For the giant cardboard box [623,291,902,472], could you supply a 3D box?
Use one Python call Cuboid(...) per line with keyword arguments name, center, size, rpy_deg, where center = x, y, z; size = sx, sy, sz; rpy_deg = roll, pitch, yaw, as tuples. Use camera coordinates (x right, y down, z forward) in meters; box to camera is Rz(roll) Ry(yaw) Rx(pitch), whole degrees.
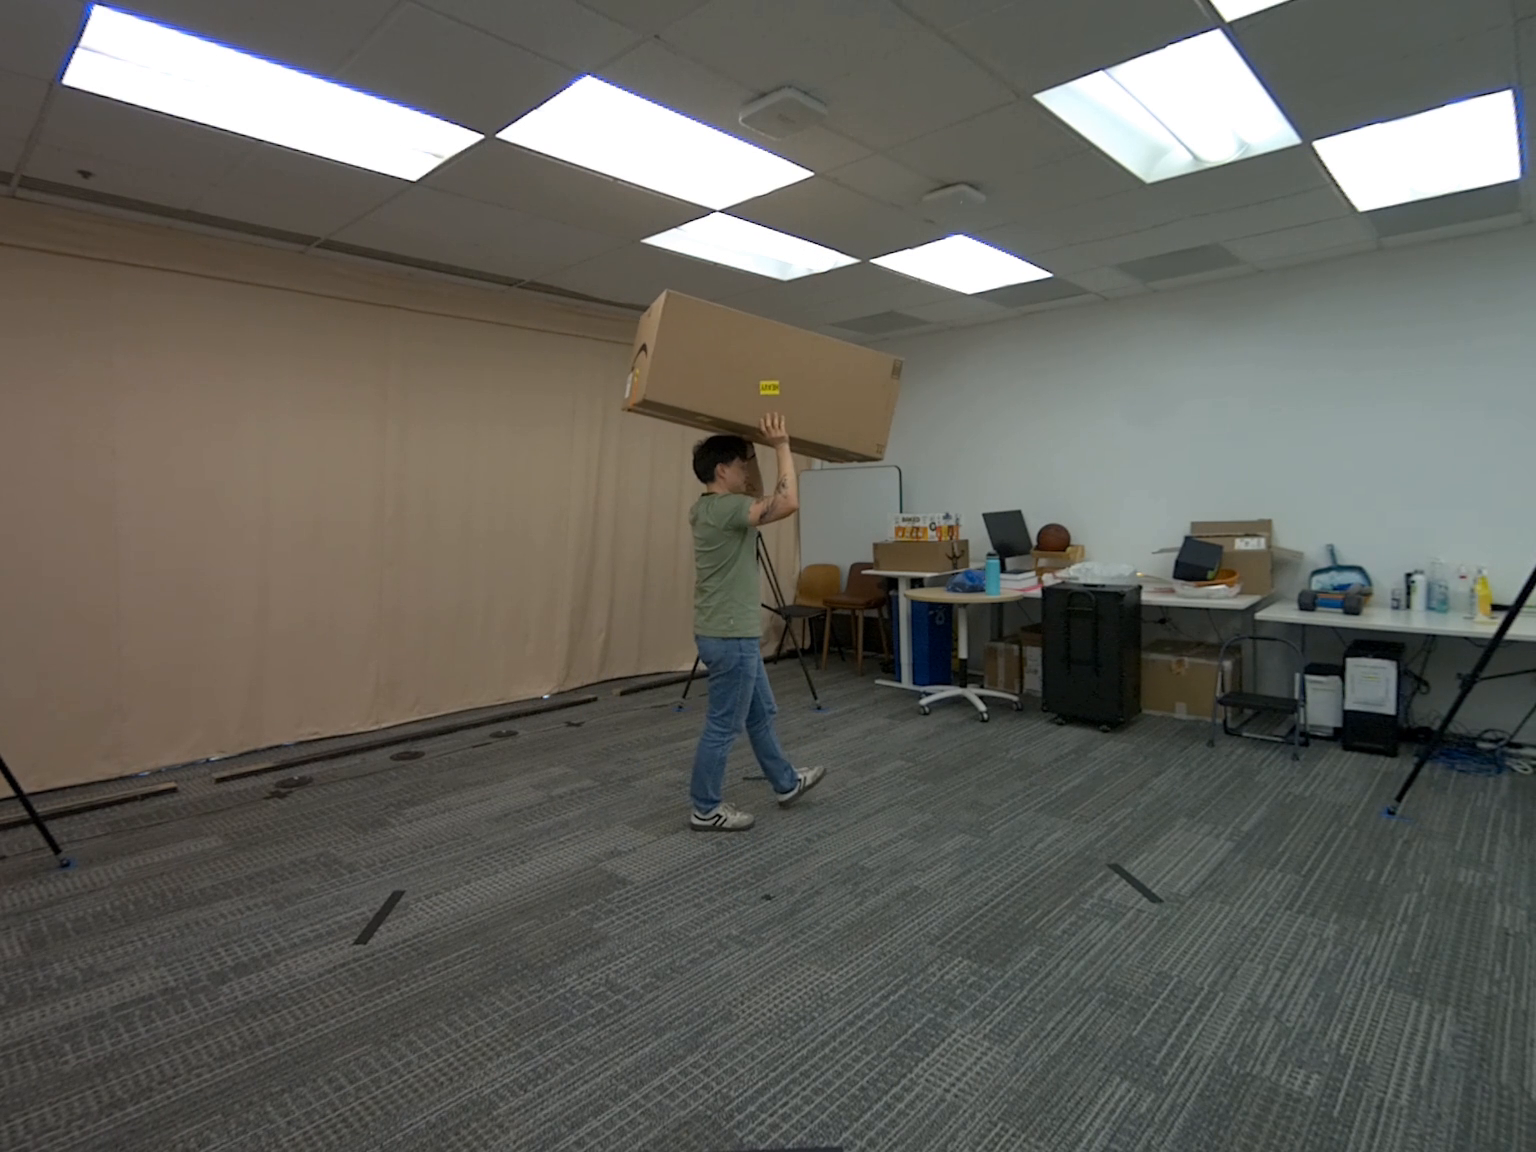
Cuboid(name="giant cardboard box", center=(-0.041, -0.801, 3.570), size=(1.007, 0.426, 0.589), rpy_deg=(12, 2, -16))
